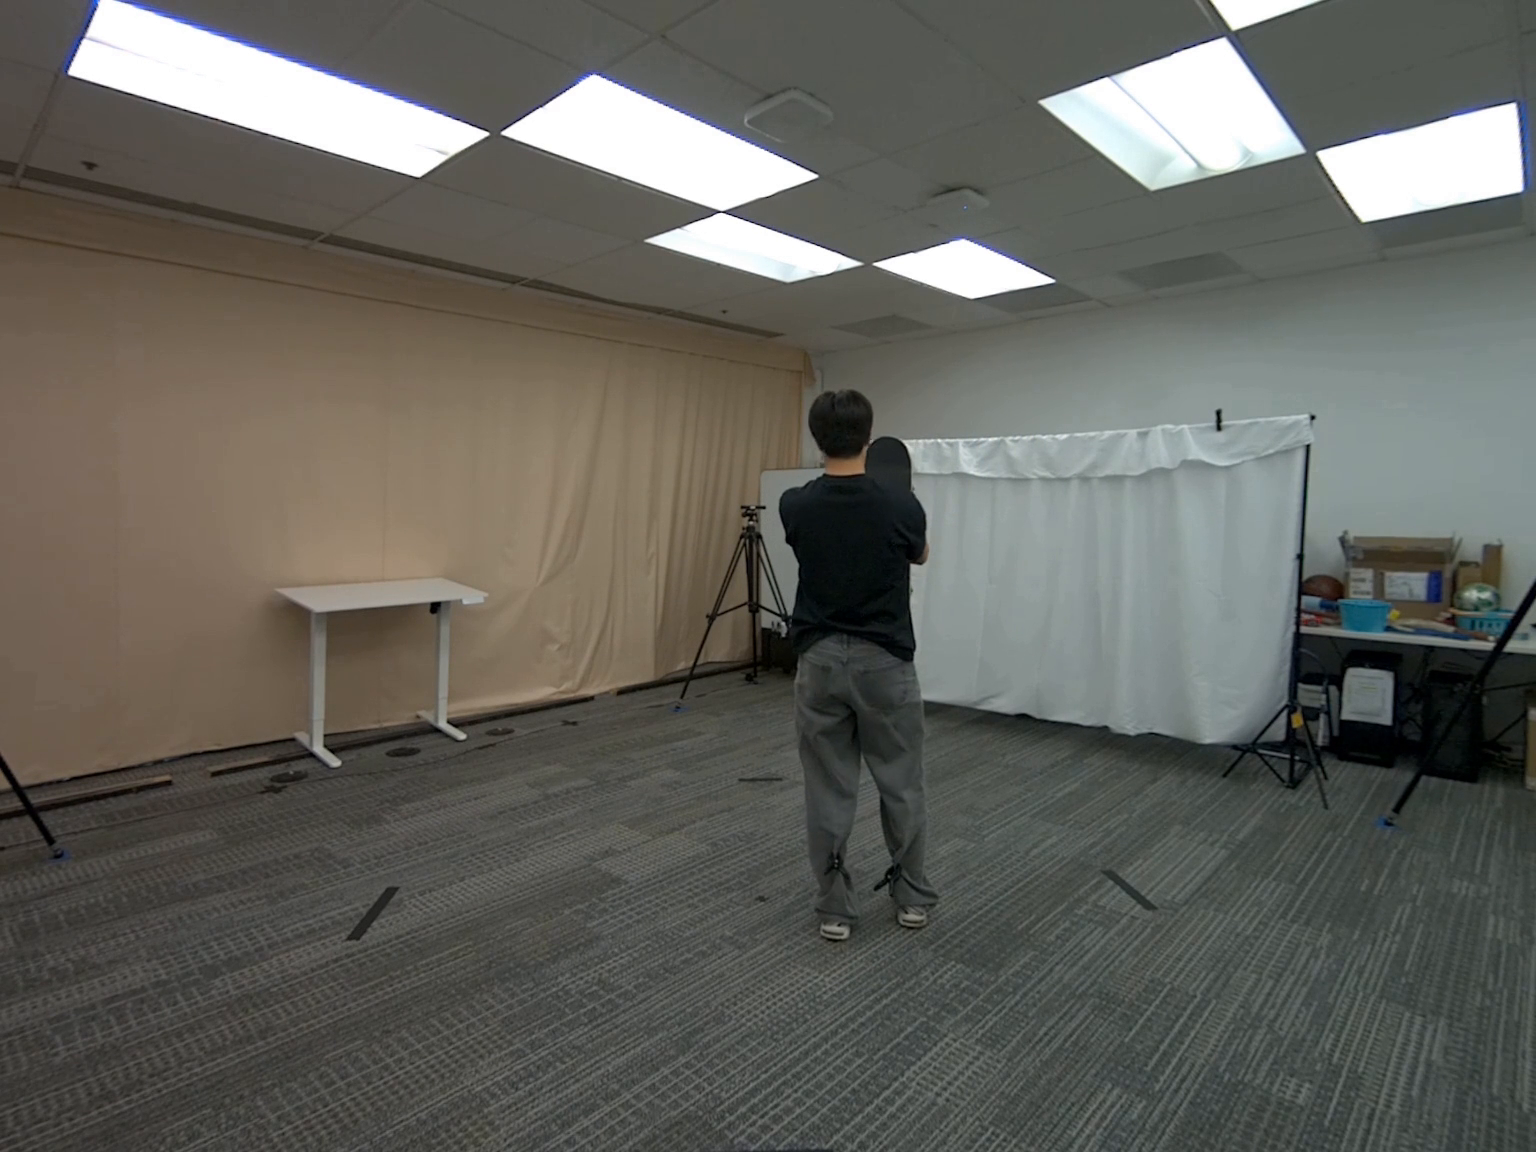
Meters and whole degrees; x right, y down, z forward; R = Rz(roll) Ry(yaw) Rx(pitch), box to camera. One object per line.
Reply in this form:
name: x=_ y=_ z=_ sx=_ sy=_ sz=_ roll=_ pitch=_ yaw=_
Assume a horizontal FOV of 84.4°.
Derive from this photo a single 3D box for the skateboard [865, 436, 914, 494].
skateboard: x=0.459 y=-0.147 z=3.276 sx=0.198 sy=0.788 sz=0.107 roll=-1 pitch=-7 yaw=21
